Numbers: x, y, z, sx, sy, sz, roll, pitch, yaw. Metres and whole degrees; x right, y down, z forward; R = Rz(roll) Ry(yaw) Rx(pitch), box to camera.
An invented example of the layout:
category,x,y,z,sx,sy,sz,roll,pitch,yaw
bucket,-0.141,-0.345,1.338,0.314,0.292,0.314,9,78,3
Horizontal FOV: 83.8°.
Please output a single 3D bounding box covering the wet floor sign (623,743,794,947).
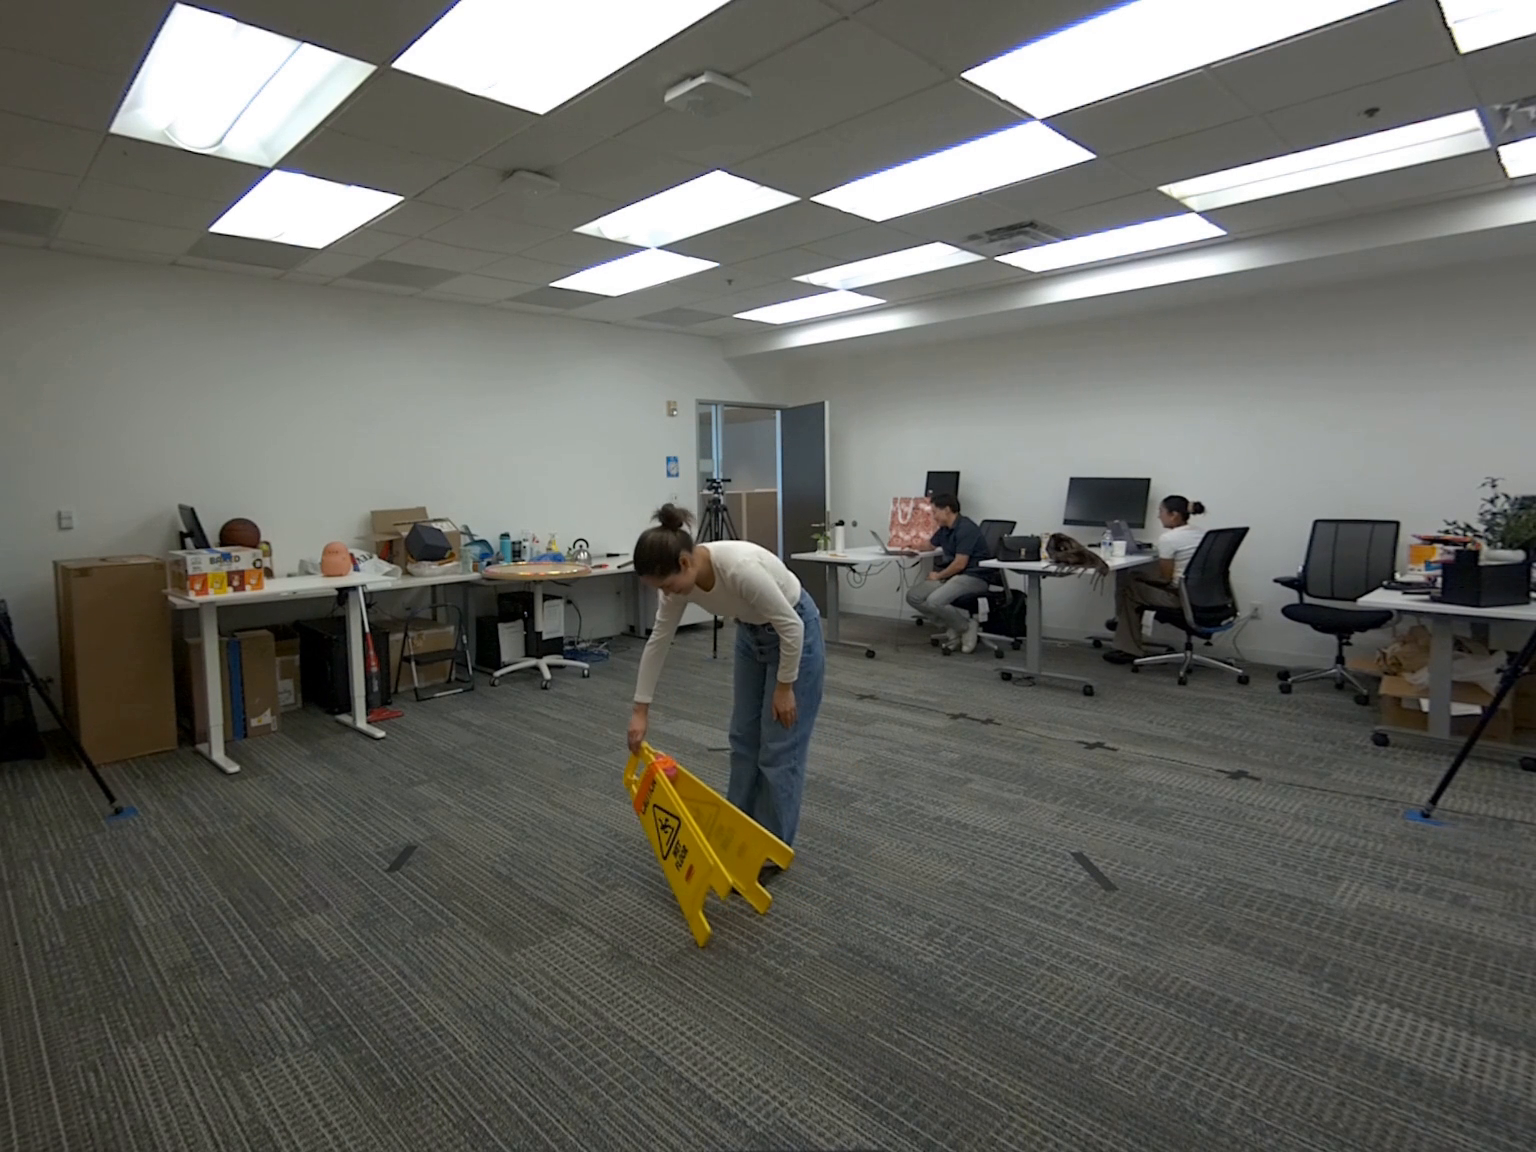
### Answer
category,x,y,z,sx,sy,sz,roll,pitch,yaw
wet floor sign,-0.263,0.817,2.794,0.282,0.279,0.671,-5,35,-44
